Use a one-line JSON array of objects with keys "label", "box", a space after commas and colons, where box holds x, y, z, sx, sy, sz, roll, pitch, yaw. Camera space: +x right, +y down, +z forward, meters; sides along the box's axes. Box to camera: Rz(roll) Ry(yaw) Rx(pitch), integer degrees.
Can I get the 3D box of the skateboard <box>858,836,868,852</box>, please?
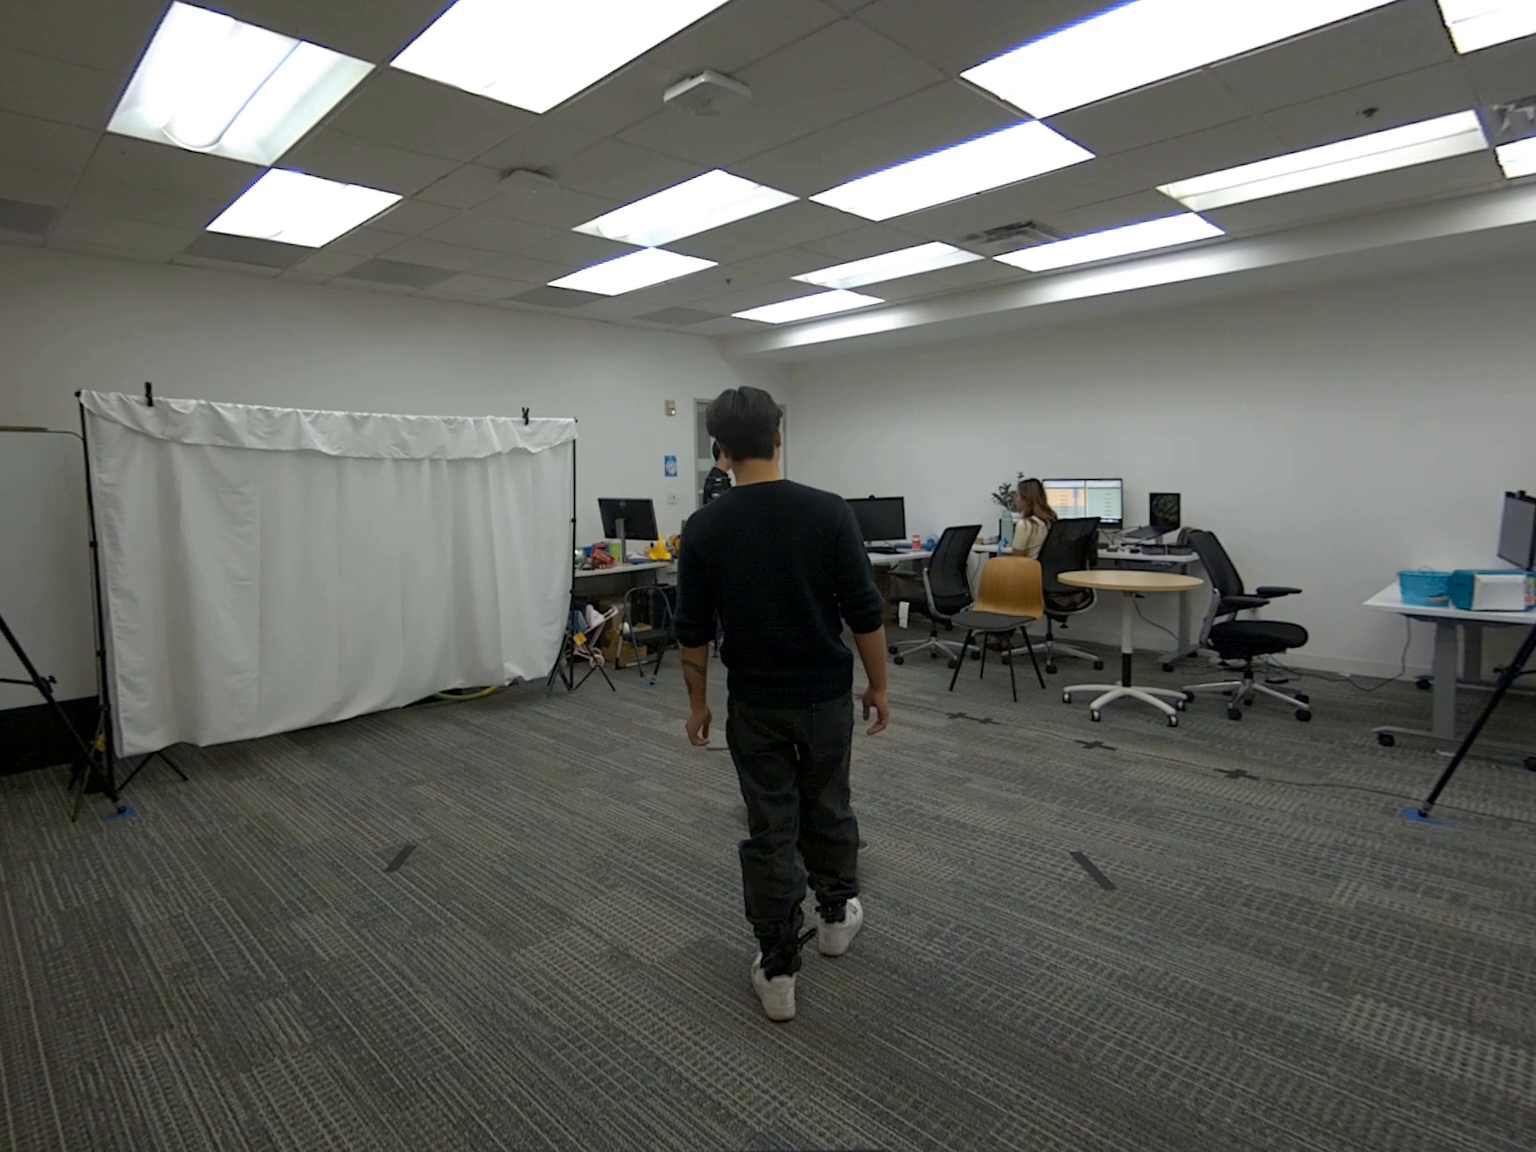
[{"label": "skateboard", "box": [0.126, 0.964, 3.296, 0.189, 0.110, 0.806, -3, 6, -28]}]
